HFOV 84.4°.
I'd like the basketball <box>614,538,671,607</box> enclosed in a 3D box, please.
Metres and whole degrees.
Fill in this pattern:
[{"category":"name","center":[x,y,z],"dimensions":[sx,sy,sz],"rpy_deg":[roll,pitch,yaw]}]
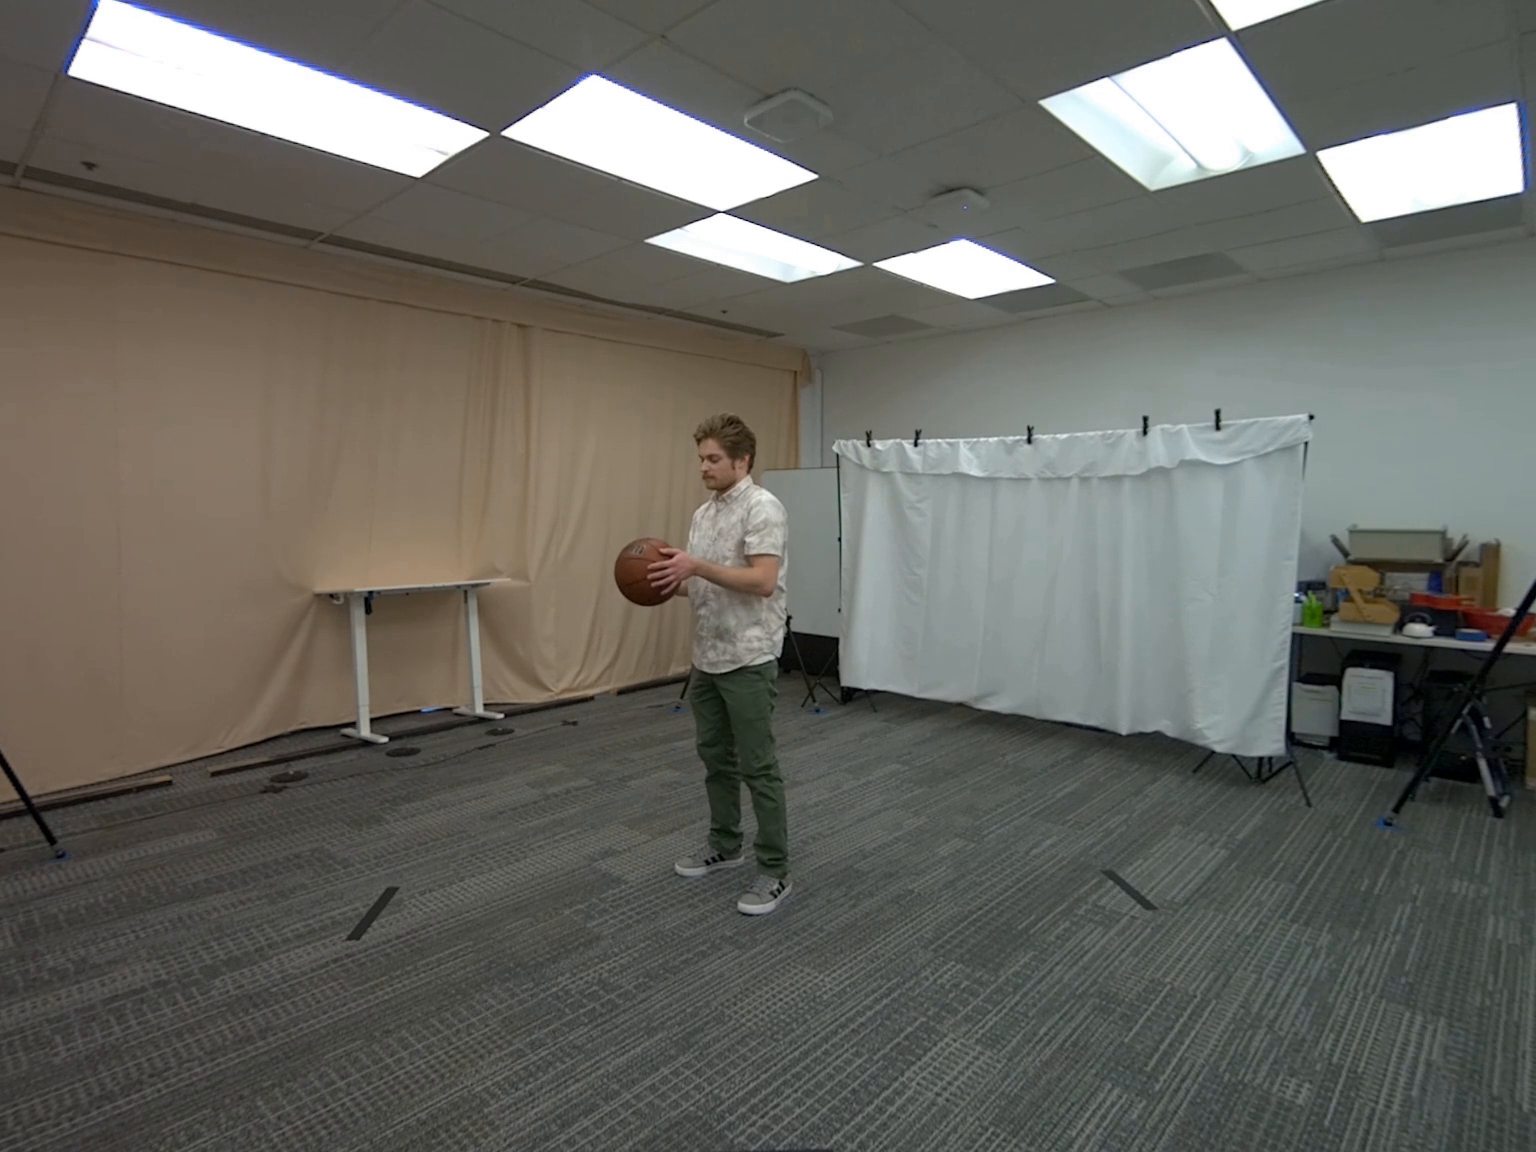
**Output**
[{"category":"basketball","center":[-0.413,-0.011,2.930],"dimensions":[0.236,0.235,0.237],"rpy_deg":[0,4,-2]}]
